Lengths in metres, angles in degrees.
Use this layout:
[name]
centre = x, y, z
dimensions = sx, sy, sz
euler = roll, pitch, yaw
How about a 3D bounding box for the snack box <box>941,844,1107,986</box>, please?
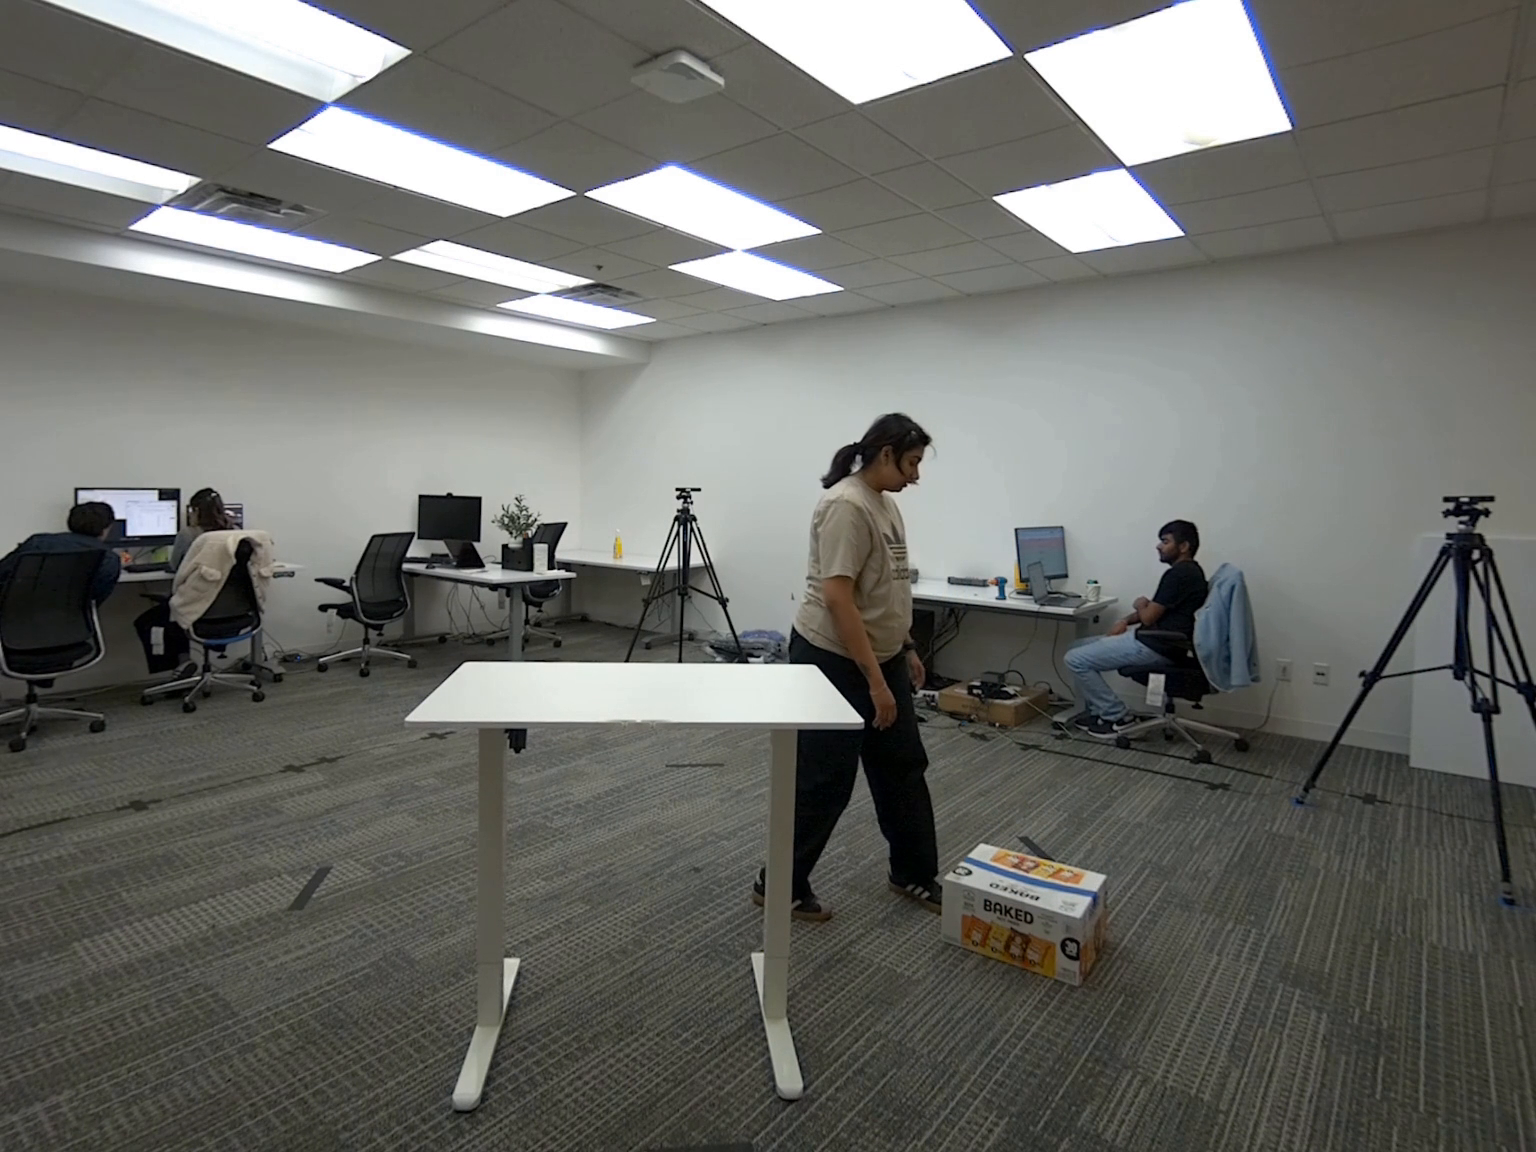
[snack box]
centre = 0.796, 1.034, 2.649
dimensions = 0.418, 0.205, 0.331
euler = 4, 5, 34
